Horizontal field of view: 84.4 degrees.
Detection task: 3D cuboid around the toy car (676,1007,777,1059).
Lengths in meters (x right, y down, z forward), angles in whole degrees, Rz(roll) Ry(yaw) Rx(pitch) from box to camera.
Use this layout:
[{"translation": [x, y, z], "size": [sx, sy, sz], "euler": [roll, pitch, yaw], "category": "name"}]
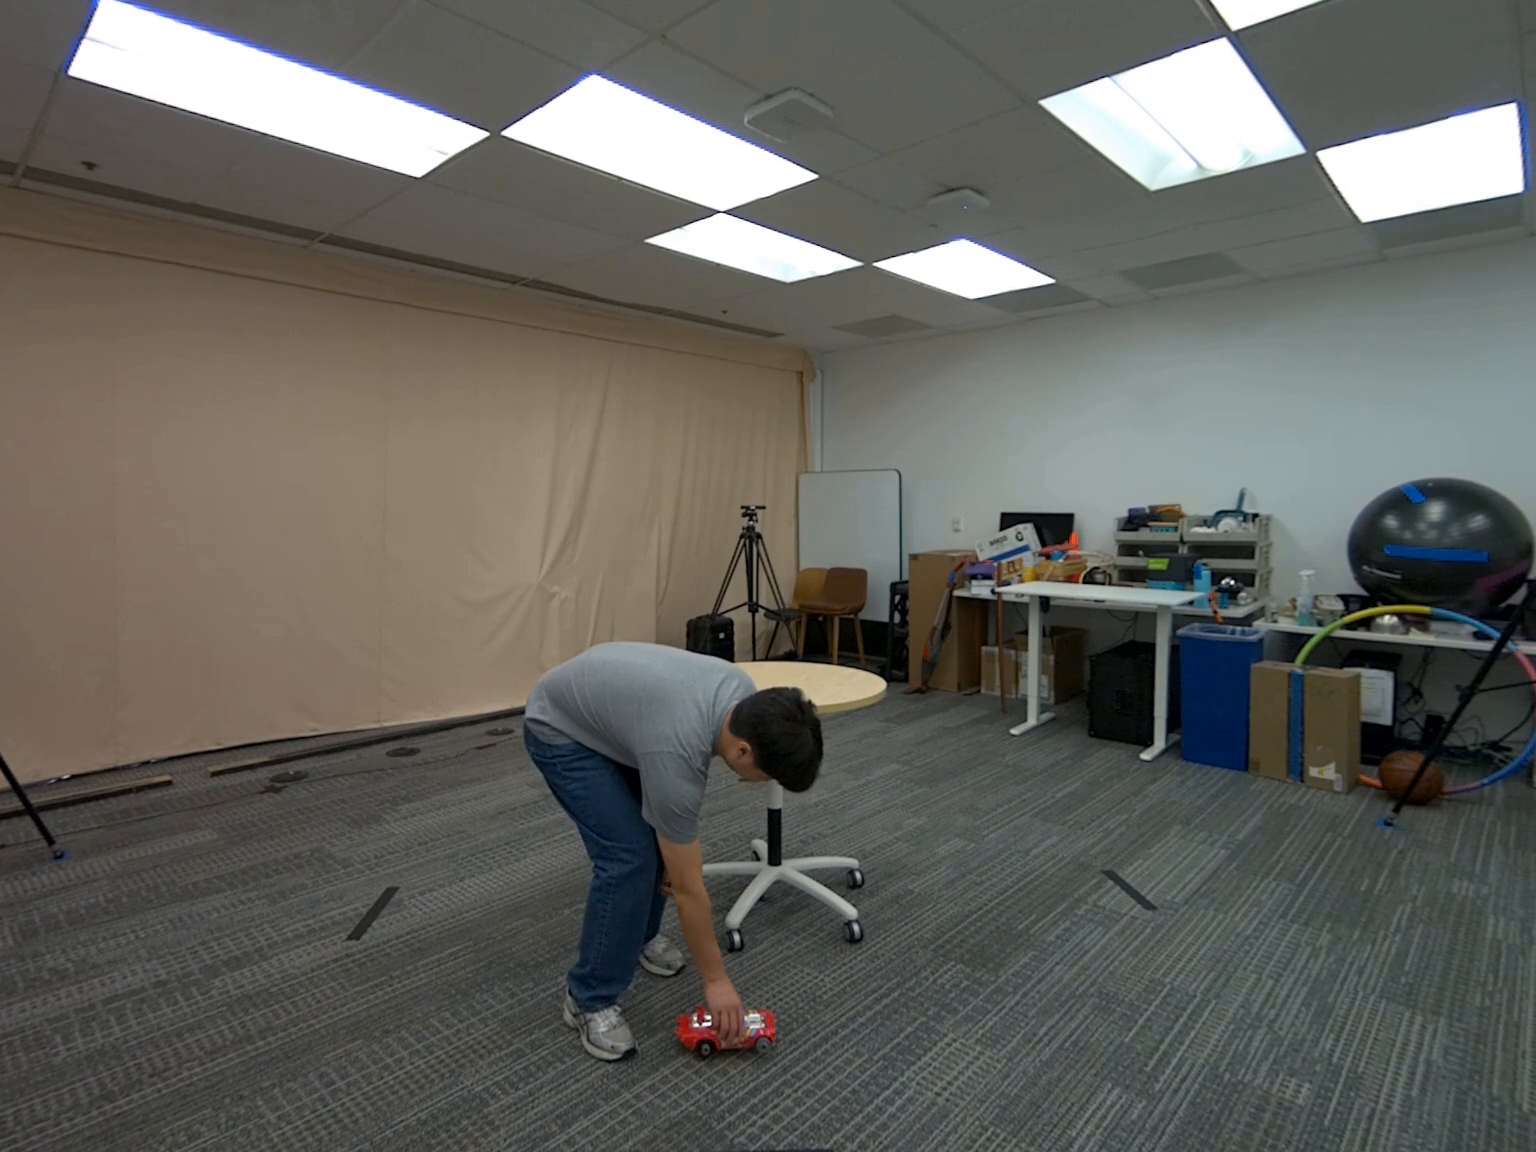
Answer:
[{"translation": [-0.113, 1.177, 2.134], "size": [0.254, 0.083, 0.131], "euler": [8, 6, -1], "category": "toy car"}]
